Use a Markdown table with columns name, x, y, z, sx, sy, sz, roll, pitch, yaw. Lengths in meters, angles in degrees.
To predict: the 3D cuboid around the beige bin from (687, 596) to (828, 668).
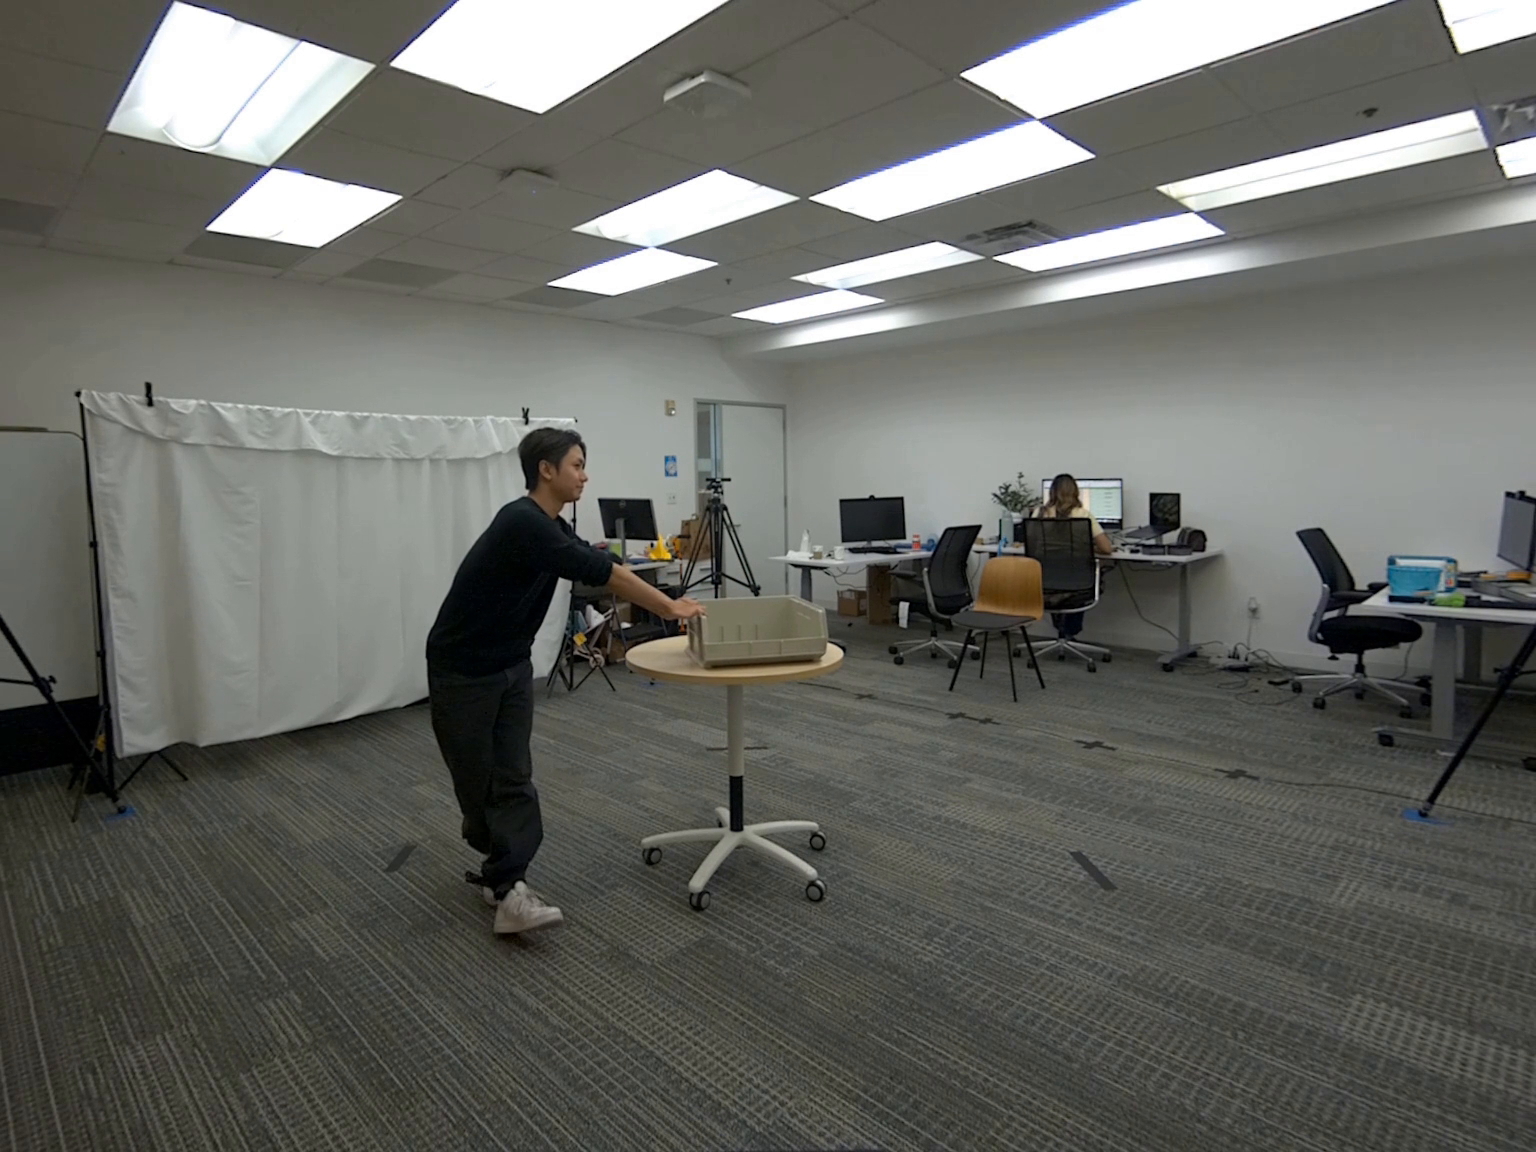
| name | x | y | z | sx | sy | sz | roll | pitch | yaw |
| --- | --- | --- | --- | --- | --- | --- | --- | --- | --- |
| beige bin | -0.054 | 0.188 | 2.931 | 0.417 | 0.188 | 0.383 | -3 | 4 | -14 |
